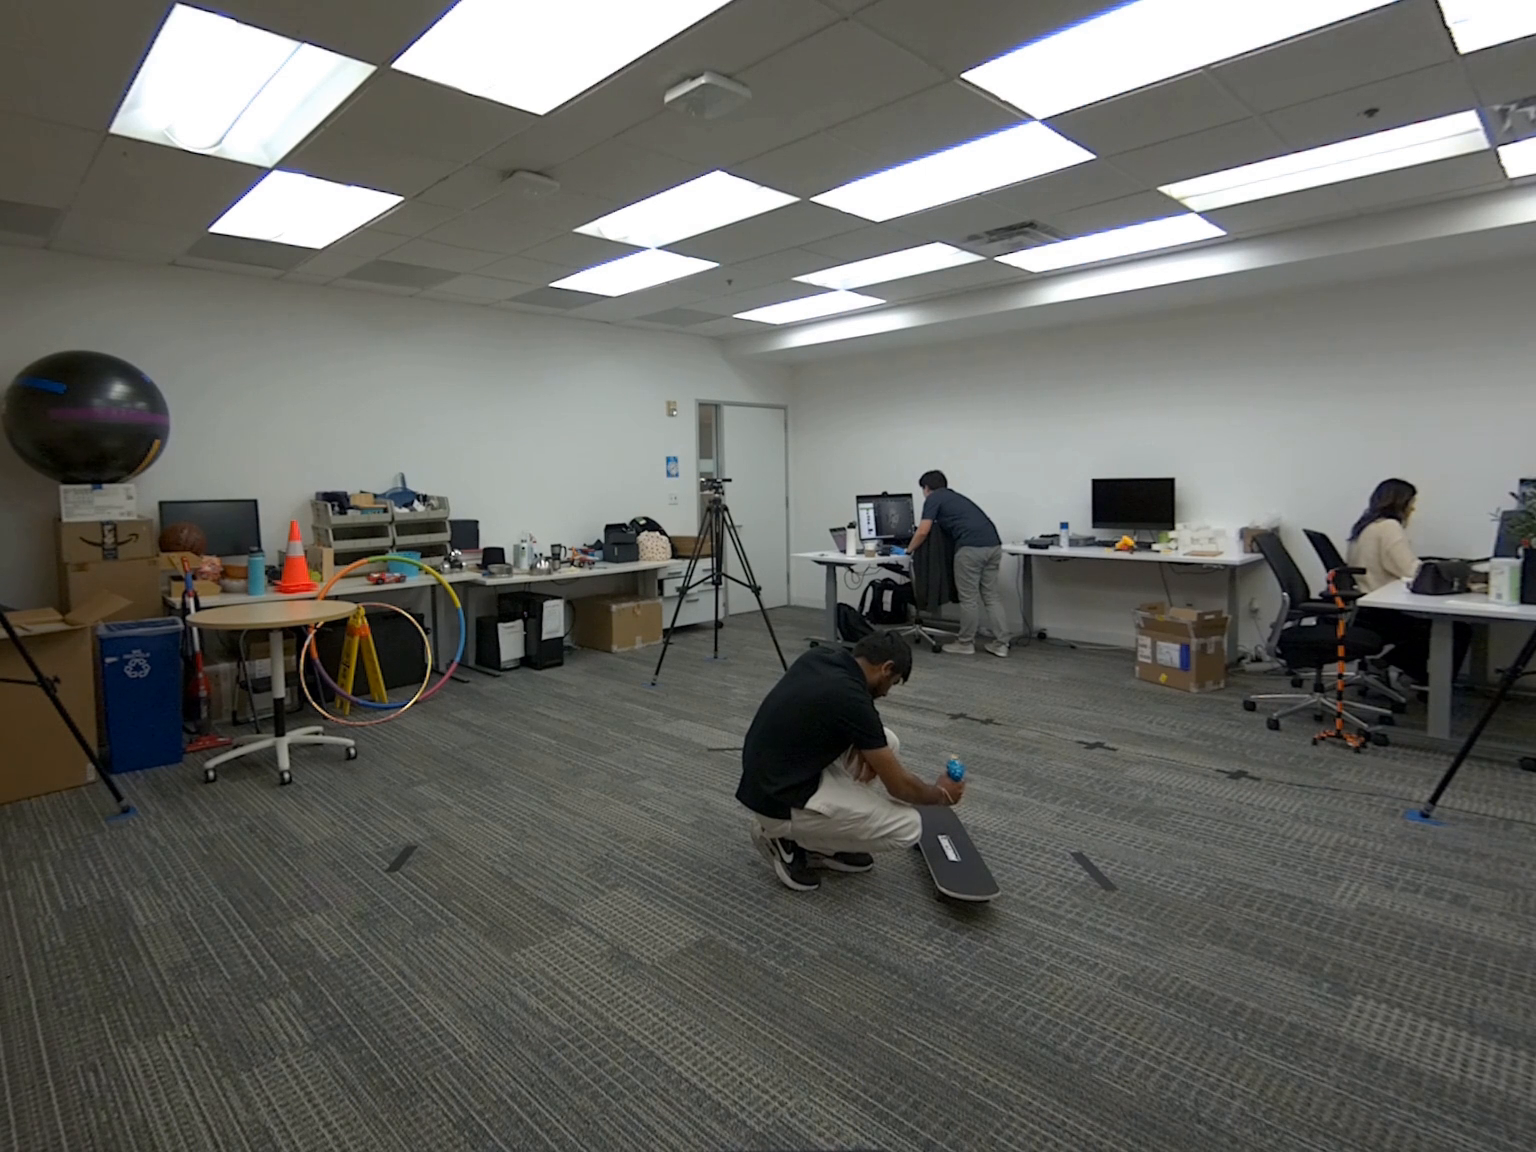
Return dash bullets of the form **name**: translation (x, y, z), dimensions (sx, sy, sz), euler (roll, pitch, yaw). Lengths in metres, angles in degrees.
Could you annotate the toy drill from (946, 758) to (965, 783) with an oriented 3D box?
- **toy drill**: translation (0.671, 0.730, 3.127), dimensions (0.061, 0.144, 0.170), euler (16, 16, 2)
